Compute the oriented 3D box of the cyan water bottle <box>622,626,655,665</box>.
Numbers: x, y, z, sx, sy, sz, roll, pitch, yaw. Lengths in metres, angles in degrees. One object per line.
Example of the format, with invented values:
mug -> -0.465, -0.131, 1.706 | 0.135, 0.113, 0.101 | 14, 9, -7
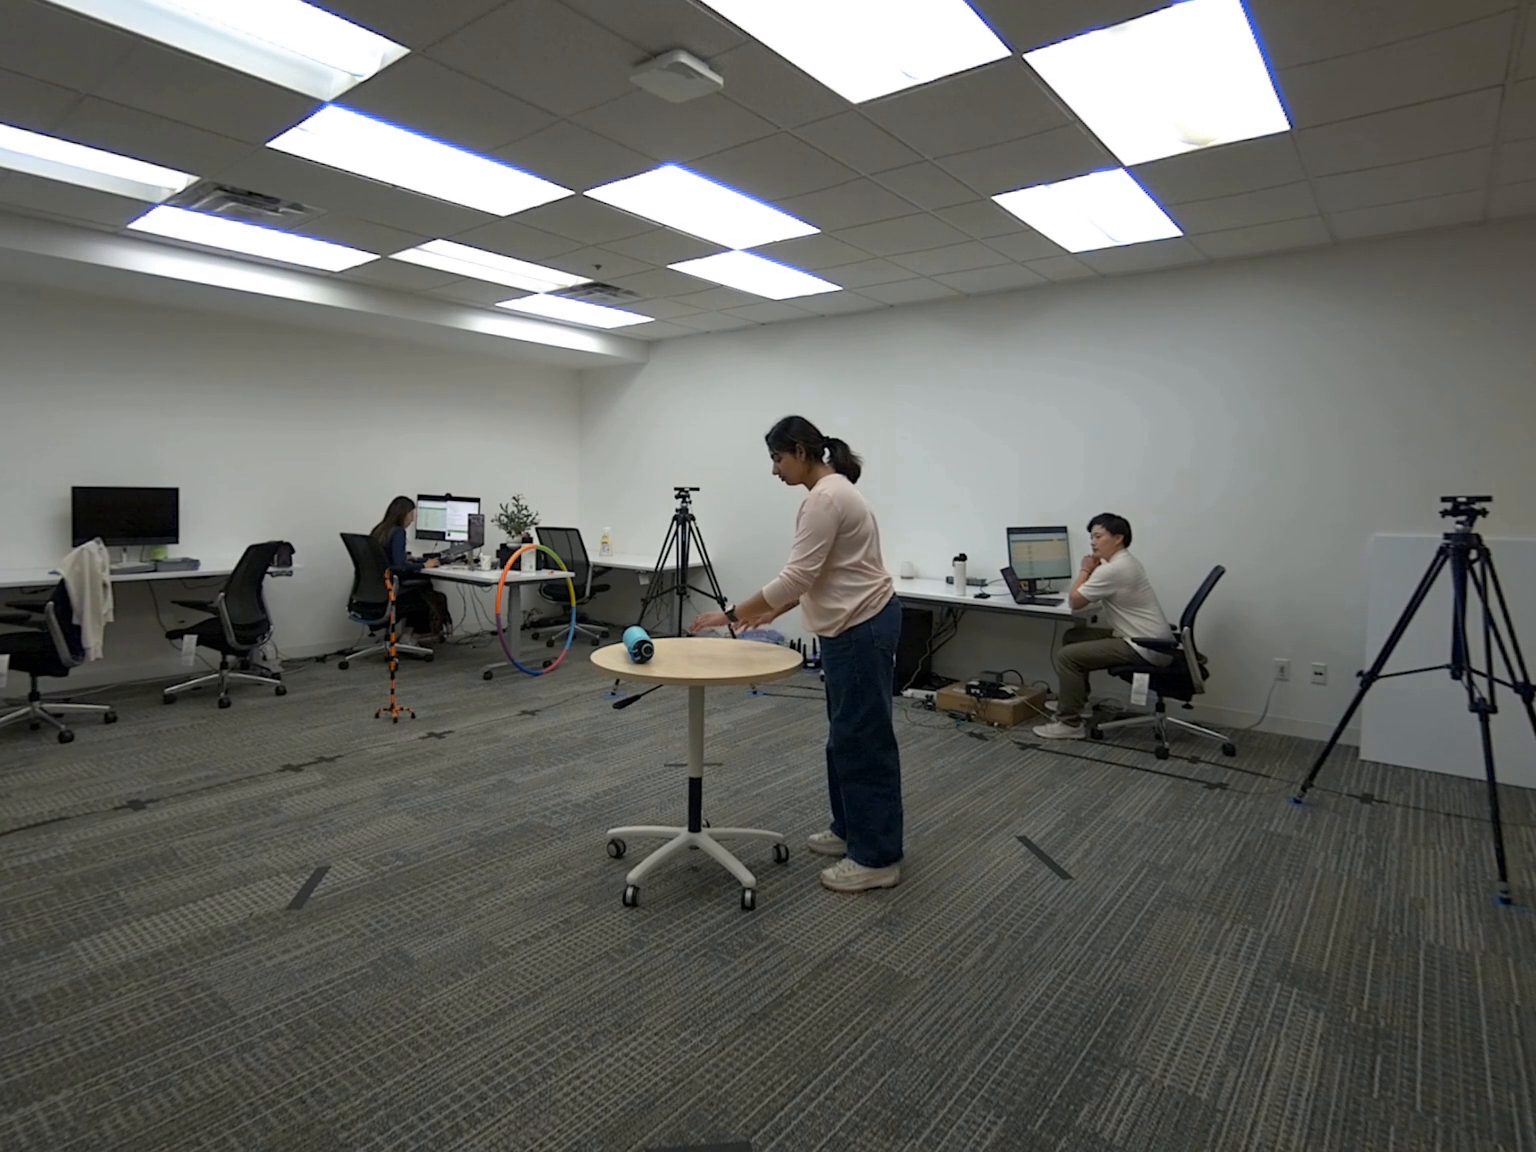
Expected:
cyan water bottle -> -0.469, 0.245, 3.029 | 0.091, 0.092, 0.288 | 0, 5, -13
